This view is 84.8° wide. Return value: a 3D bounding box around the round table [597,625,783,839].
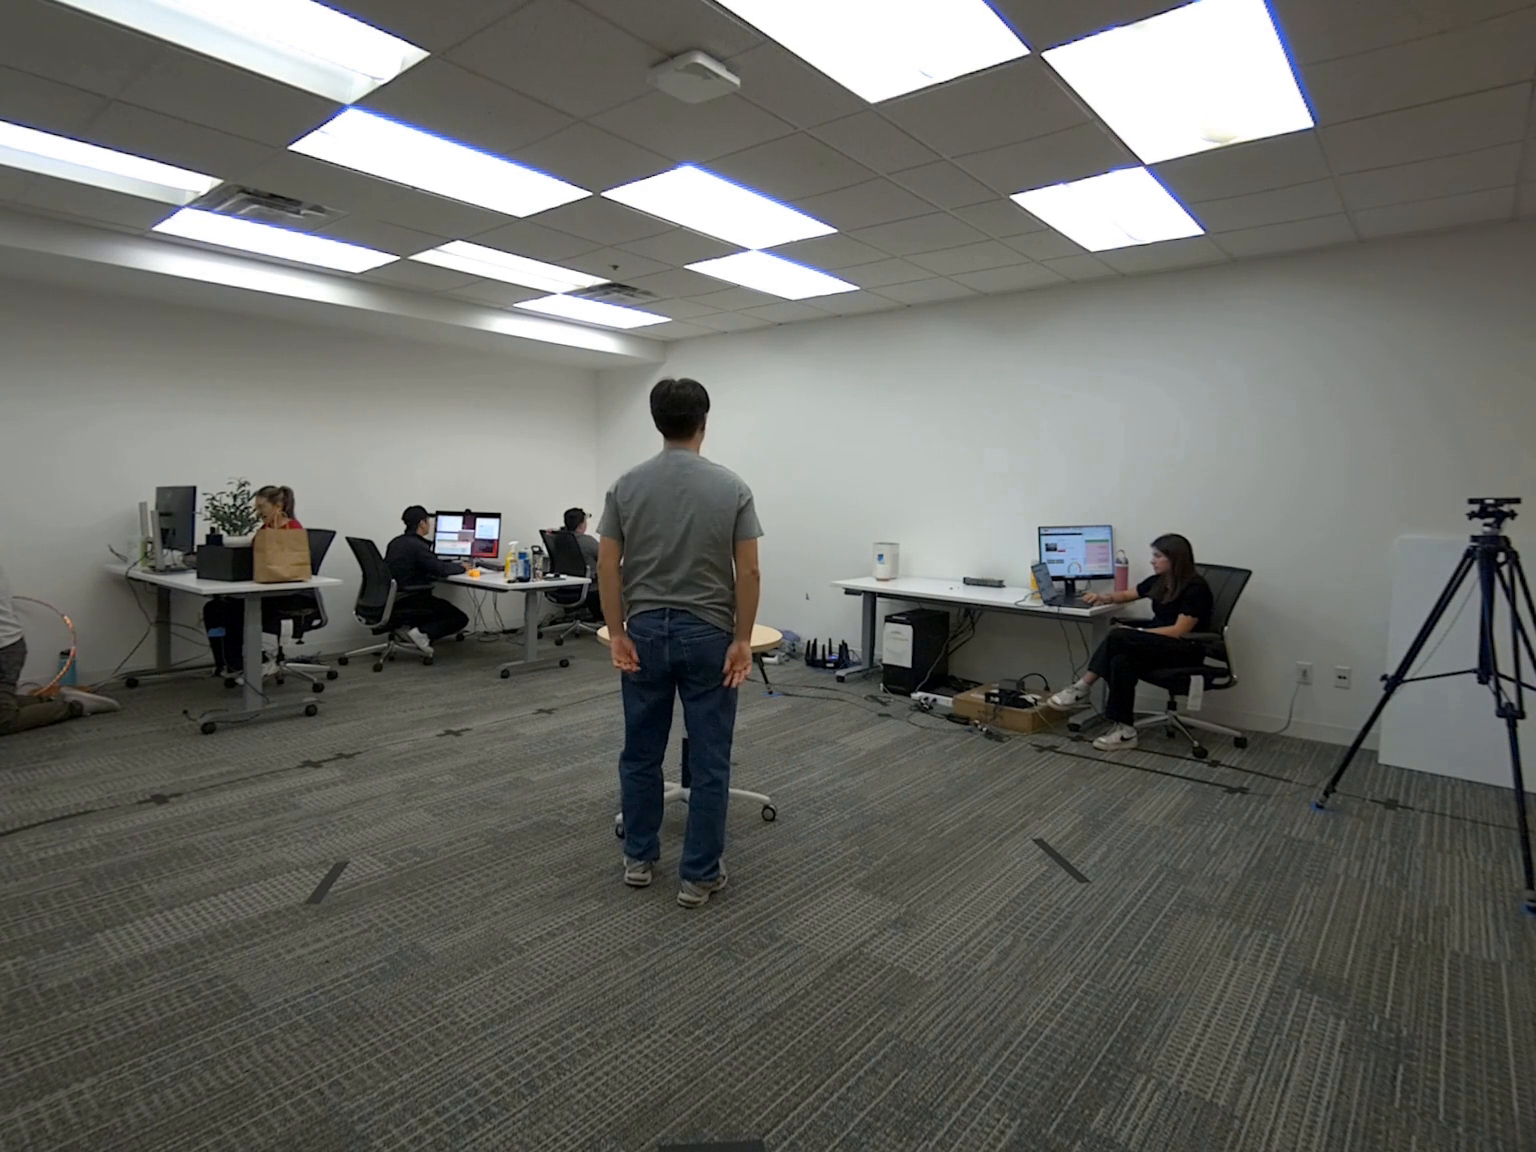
[{"bbox_3d":[-0.333,0.624,3.550,0.763,0.791,0.768,1,4,-2],"label":"round table"}]
